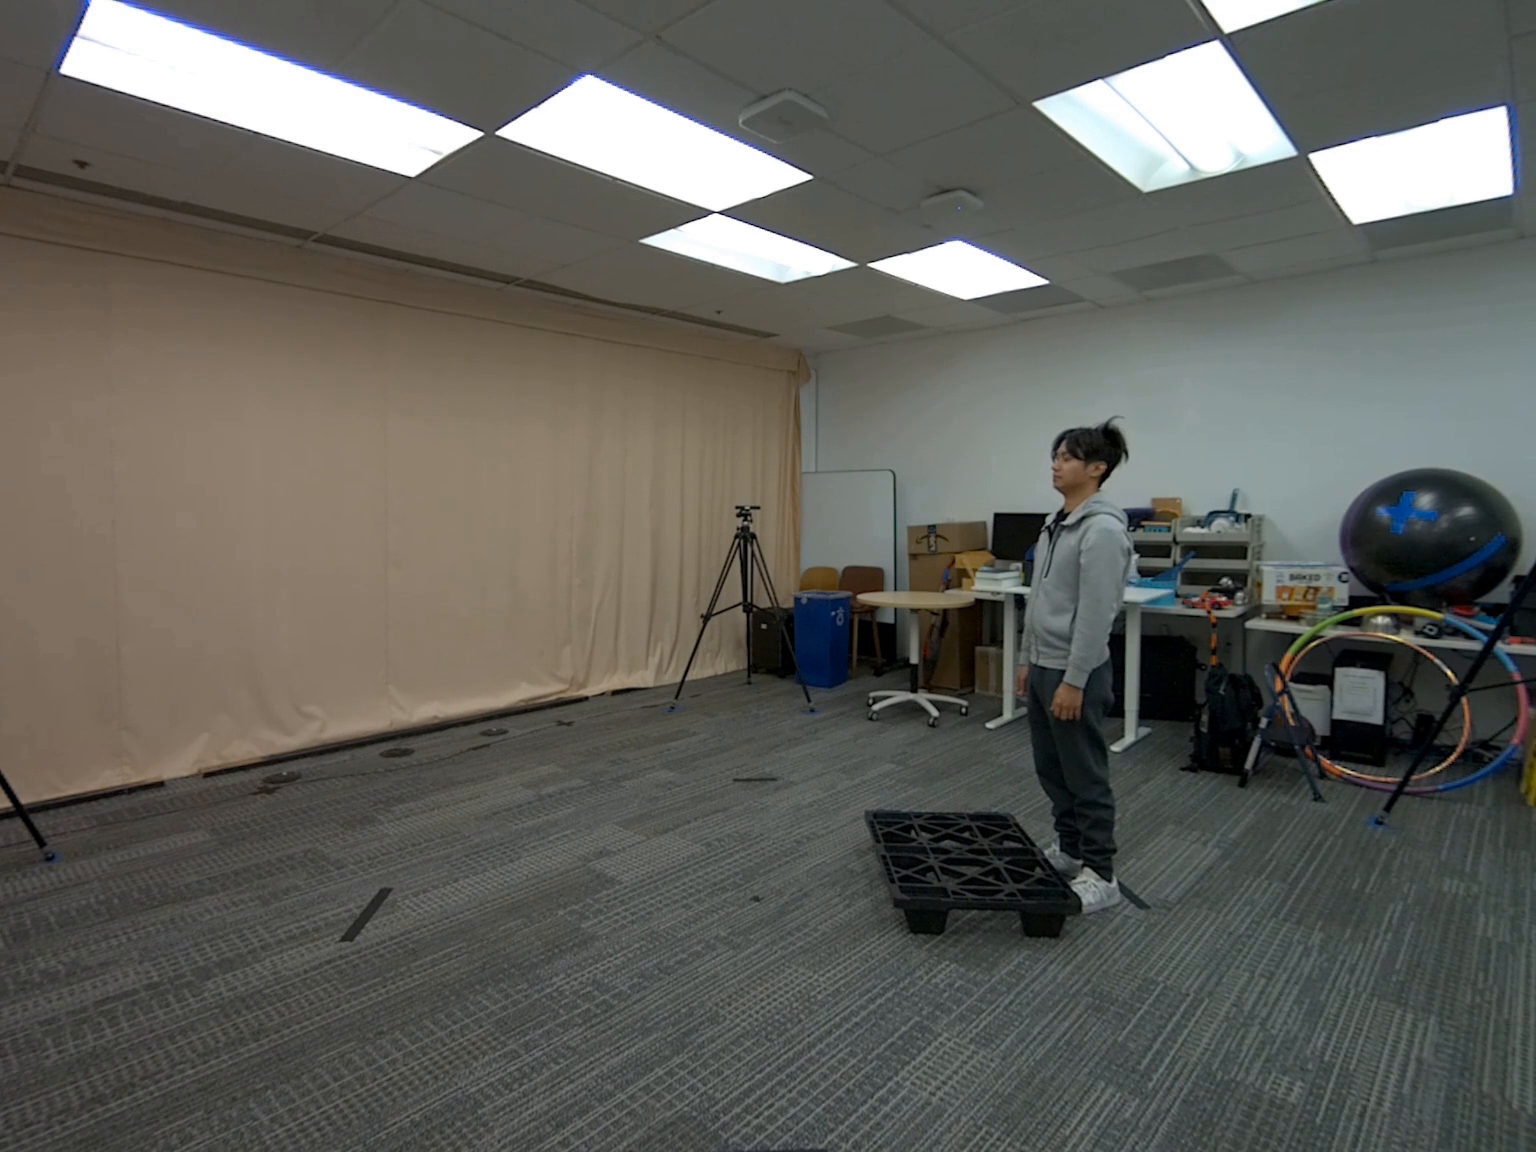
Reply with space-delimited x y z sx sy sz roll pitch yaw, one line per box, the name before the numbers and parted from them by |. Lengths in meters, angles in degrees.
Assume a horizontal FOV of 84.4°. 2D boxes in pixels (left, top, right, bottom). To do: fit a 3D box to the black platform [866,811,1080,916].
black platform | 0.705 1.066 3.082 0.607 0.143 0.806 1 5 1
